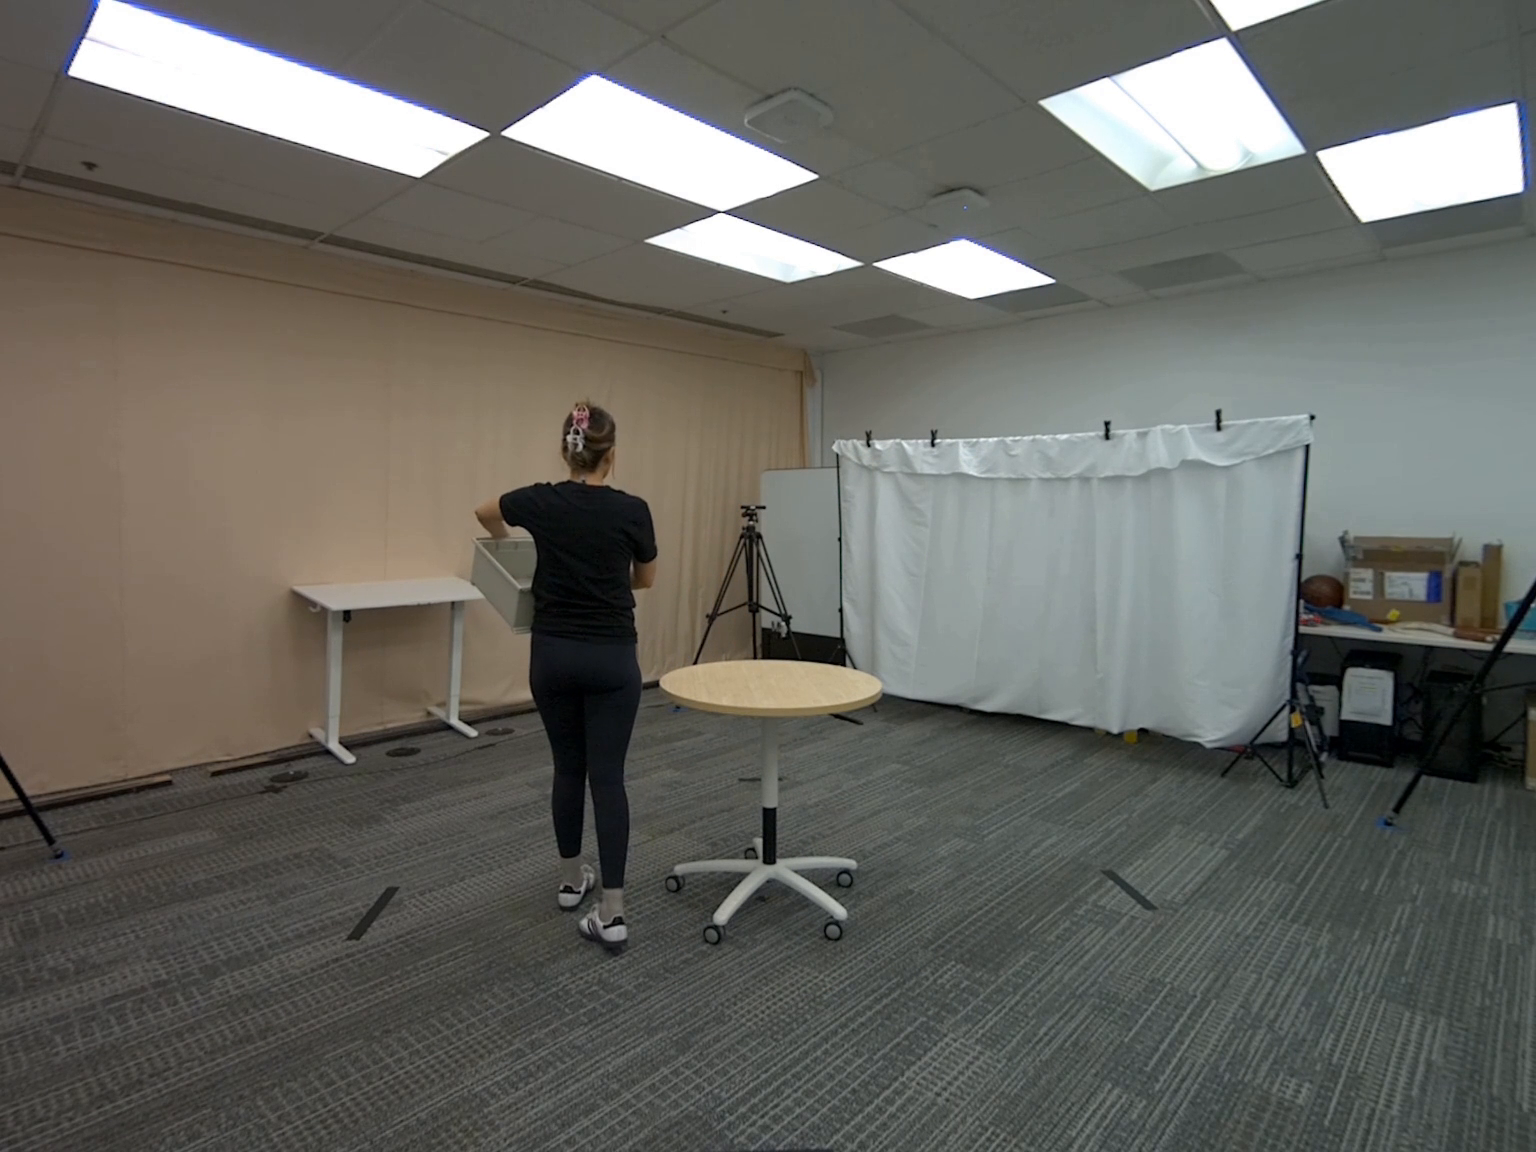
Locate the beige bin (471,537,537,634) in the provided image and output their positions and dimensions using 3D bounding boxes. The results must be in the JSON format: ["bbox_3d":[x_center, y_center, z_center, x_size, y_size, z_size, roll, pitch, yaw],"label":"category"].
[{"bbox_3d":[-0.826,0.023,3.060,0.366,0.188,0.438,-4,28,-40],"label":"beige bin"}]
